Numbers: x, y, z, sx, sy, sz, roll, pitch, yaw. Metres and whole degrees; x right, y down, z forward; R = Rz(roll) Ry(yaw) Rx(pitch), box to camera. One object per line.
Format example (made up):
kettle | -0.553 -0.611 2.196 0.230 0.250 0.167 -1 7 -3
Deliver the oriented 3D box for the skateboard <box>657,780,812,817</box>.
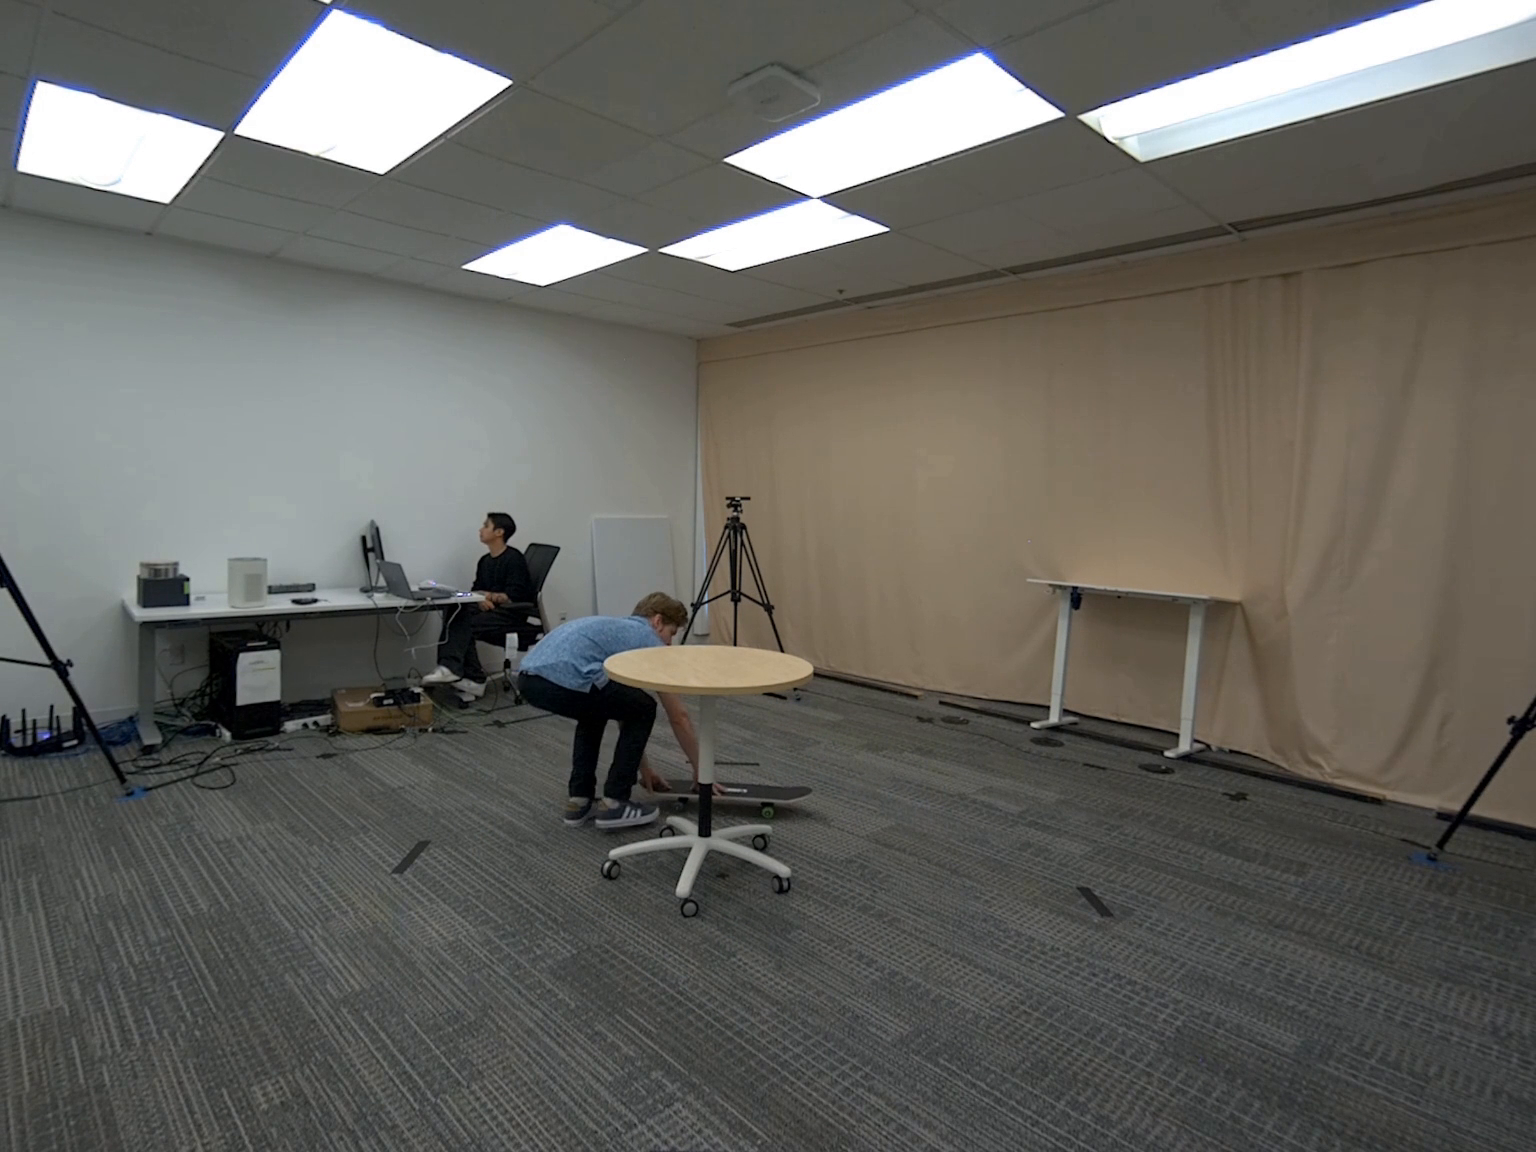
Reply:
skateboard | -0.203 0.989 3.773 0.790 0.110 0.193 2 5 6
